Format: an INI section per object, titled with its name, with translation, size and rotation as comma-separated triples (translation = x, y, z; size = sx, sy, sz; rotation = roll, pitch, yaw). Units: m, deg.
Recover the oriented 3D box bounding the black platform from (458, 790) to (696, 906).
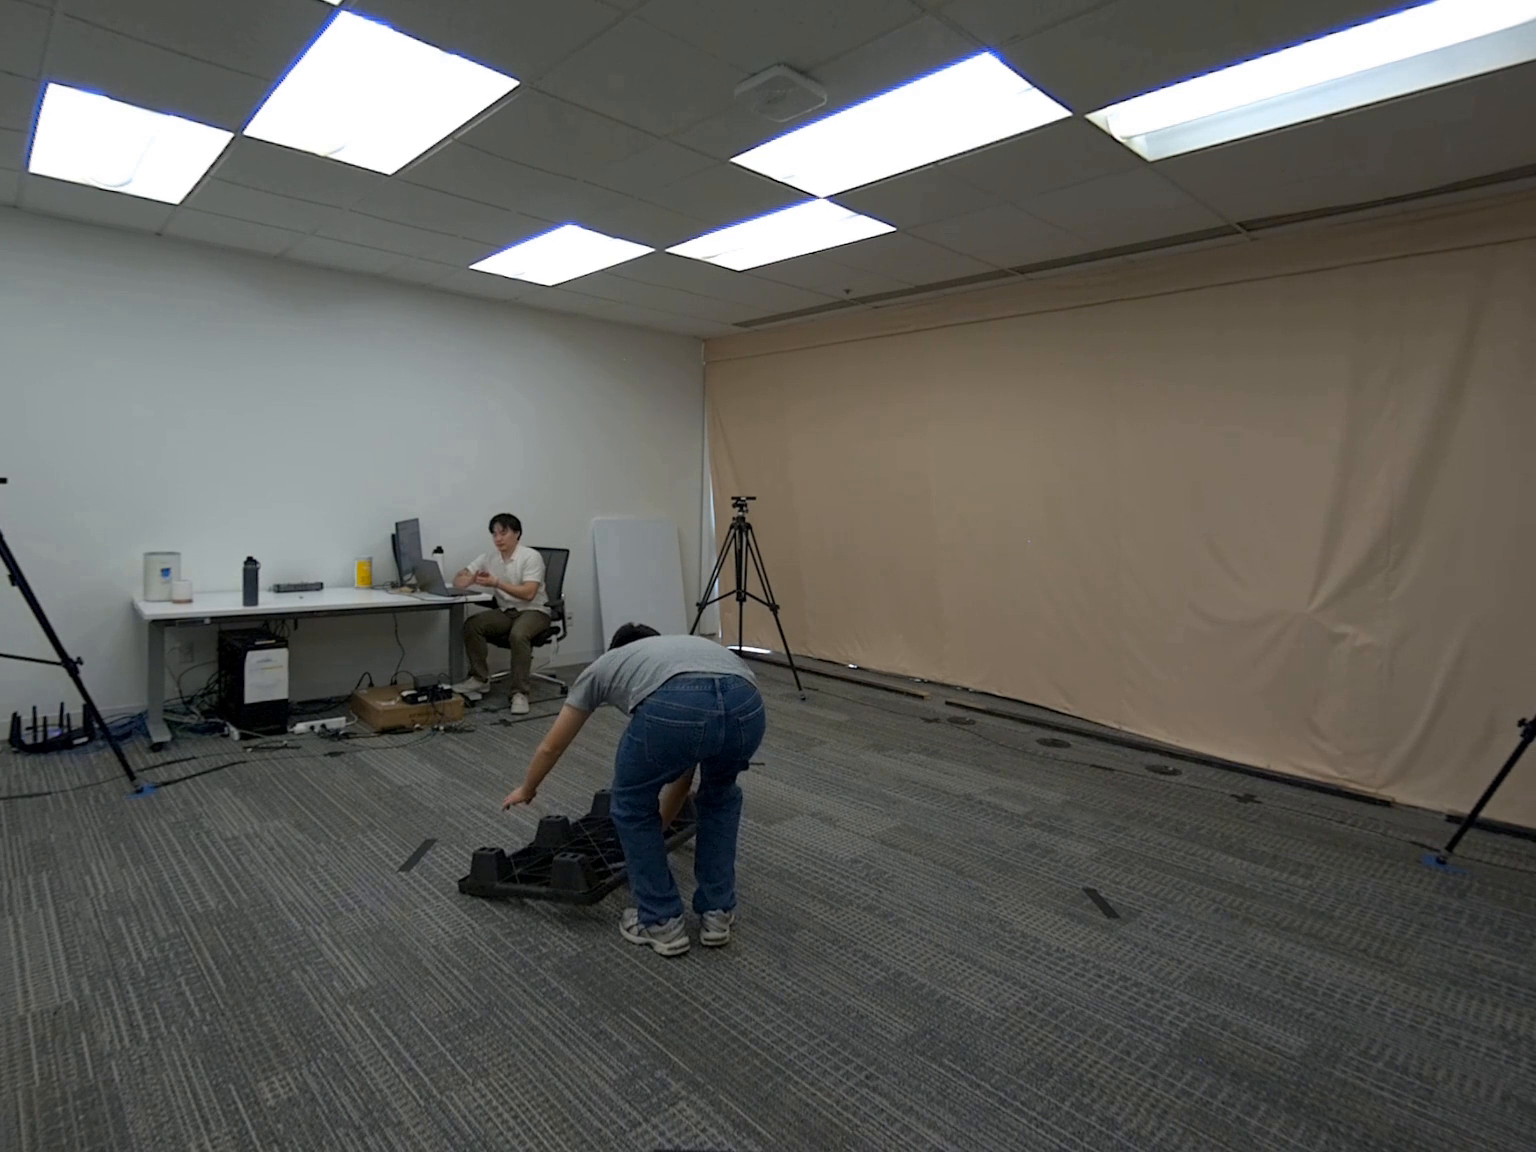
[black platform]
translation = -0.655, 0.981, 3.138
size = 0.616, 0.143, 0.791
rotation = -5, 1, 27
